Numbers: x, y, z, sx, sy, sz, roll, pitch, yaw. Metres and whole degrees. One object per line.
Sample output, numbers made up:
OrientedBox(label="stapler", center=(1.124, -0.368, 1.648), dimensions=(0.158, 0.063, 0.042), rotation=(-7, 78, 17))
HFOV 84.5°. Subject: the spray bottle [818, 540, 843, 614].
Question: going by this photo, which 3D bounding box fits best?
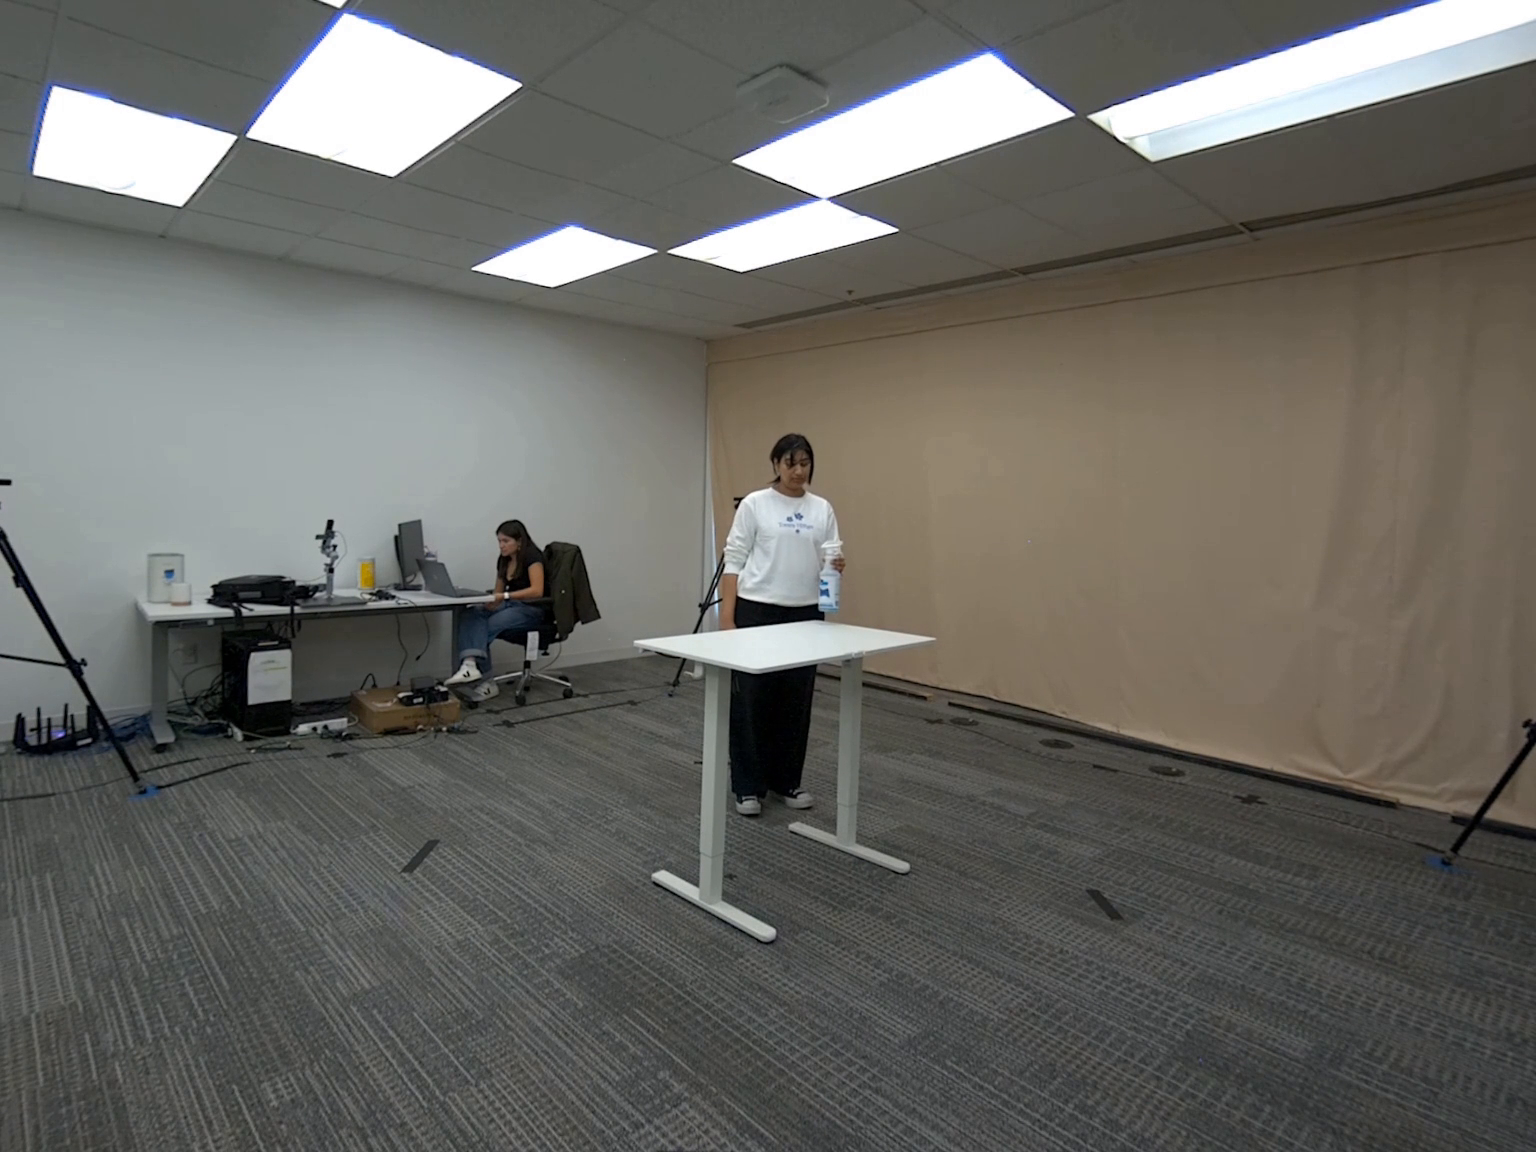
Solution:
OrientedBox(label="spray bottle", center=(0.251, 0.003, 3.529), dimensions=(0.091, 0.298, 0.086), rotation=(0, -4, 13))
